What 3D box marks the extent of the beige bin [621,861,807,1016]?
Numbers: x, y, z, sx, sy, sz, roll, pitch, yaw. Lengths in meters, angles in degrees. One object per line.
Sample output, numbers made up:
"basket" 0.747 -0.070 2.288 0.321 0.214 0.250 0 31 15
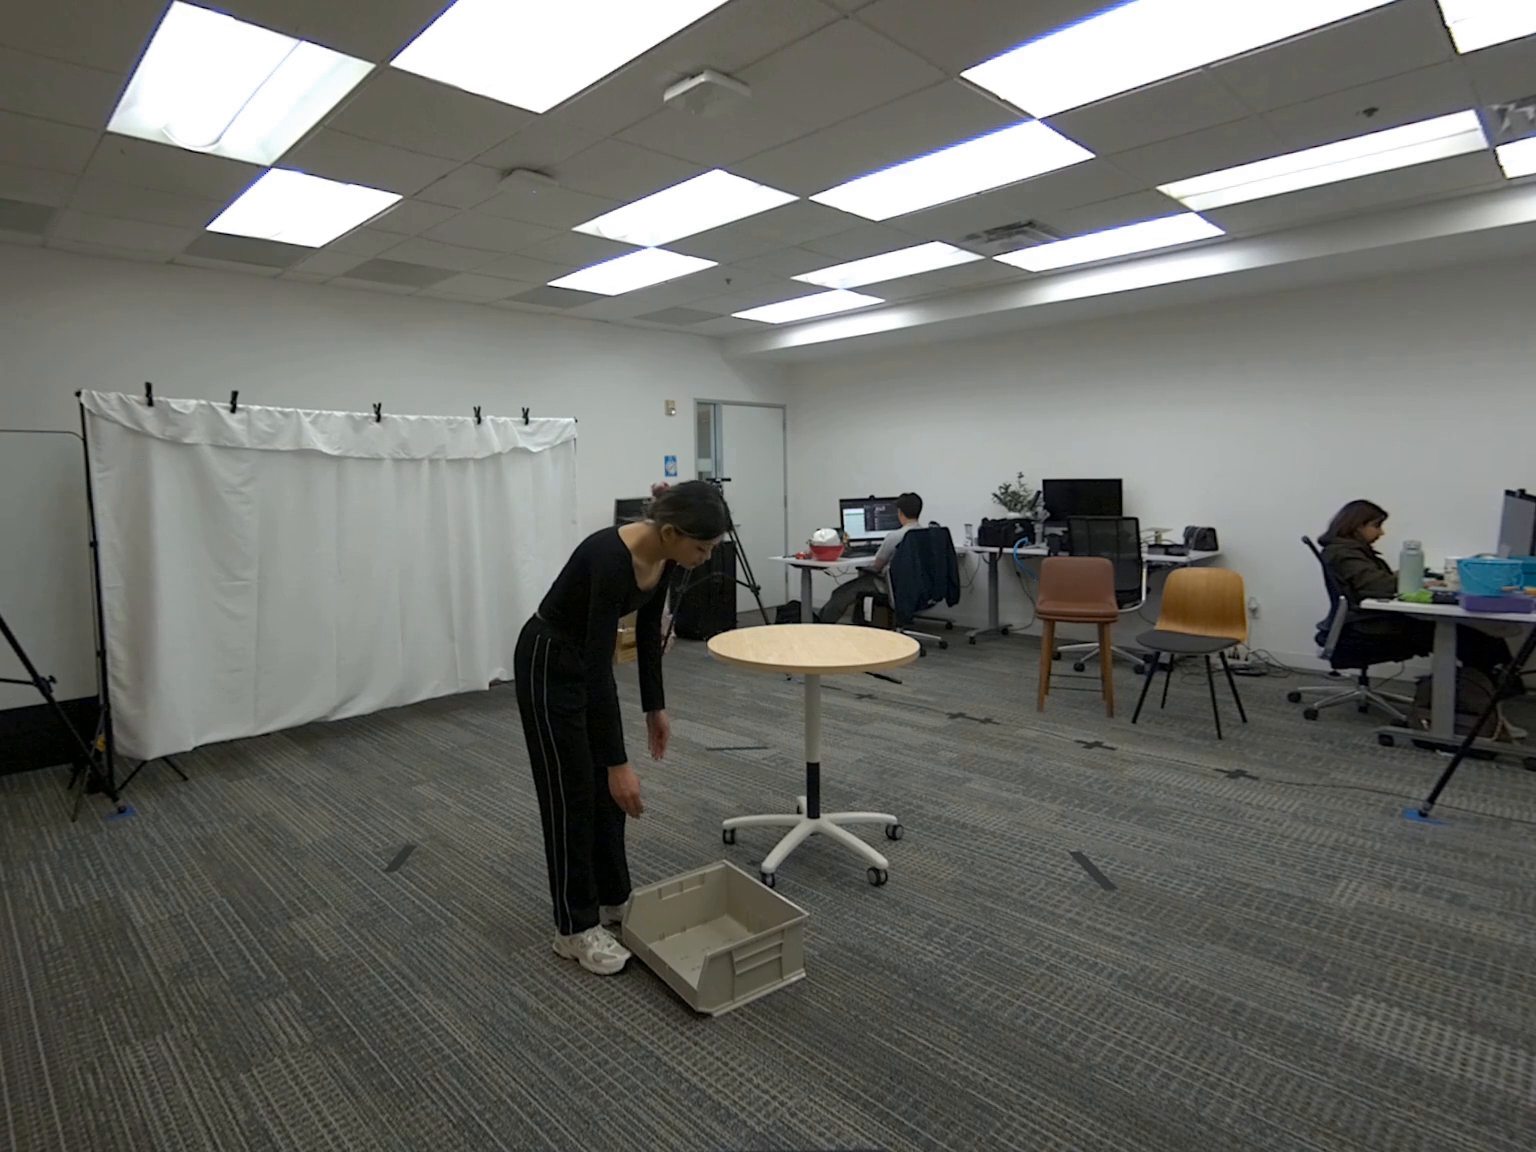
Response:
"beige bin" -0.156 1.030 2.456 0.368 0.188 0.435 -4 7 -35
